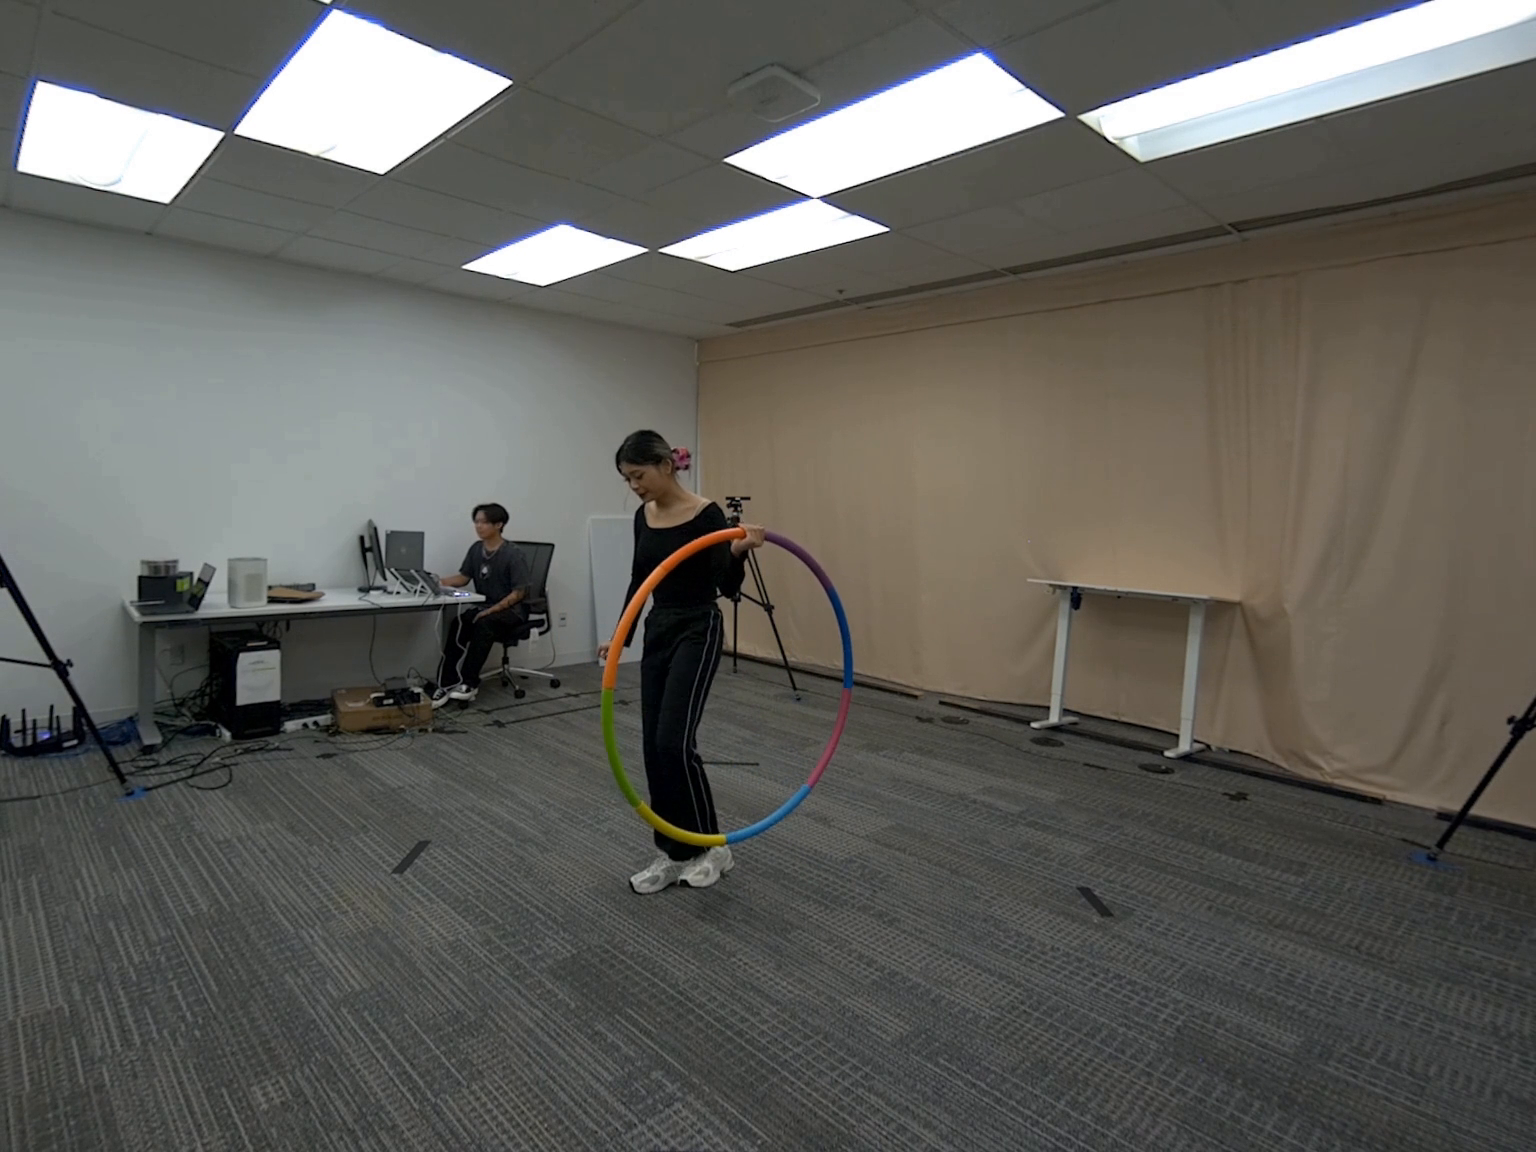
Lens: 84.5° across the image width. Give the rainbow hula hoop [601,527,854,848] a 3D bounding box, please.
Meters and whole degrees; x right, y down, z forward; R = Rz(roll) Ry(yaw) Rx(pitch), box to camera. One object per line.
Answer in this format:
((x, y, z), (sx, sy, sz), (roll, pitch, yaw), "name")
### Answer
((-0.091, 0.345, 2.642), (0.957, 0.976, 0.036), (-2, 5, -37), "rainbow hula hoop")
